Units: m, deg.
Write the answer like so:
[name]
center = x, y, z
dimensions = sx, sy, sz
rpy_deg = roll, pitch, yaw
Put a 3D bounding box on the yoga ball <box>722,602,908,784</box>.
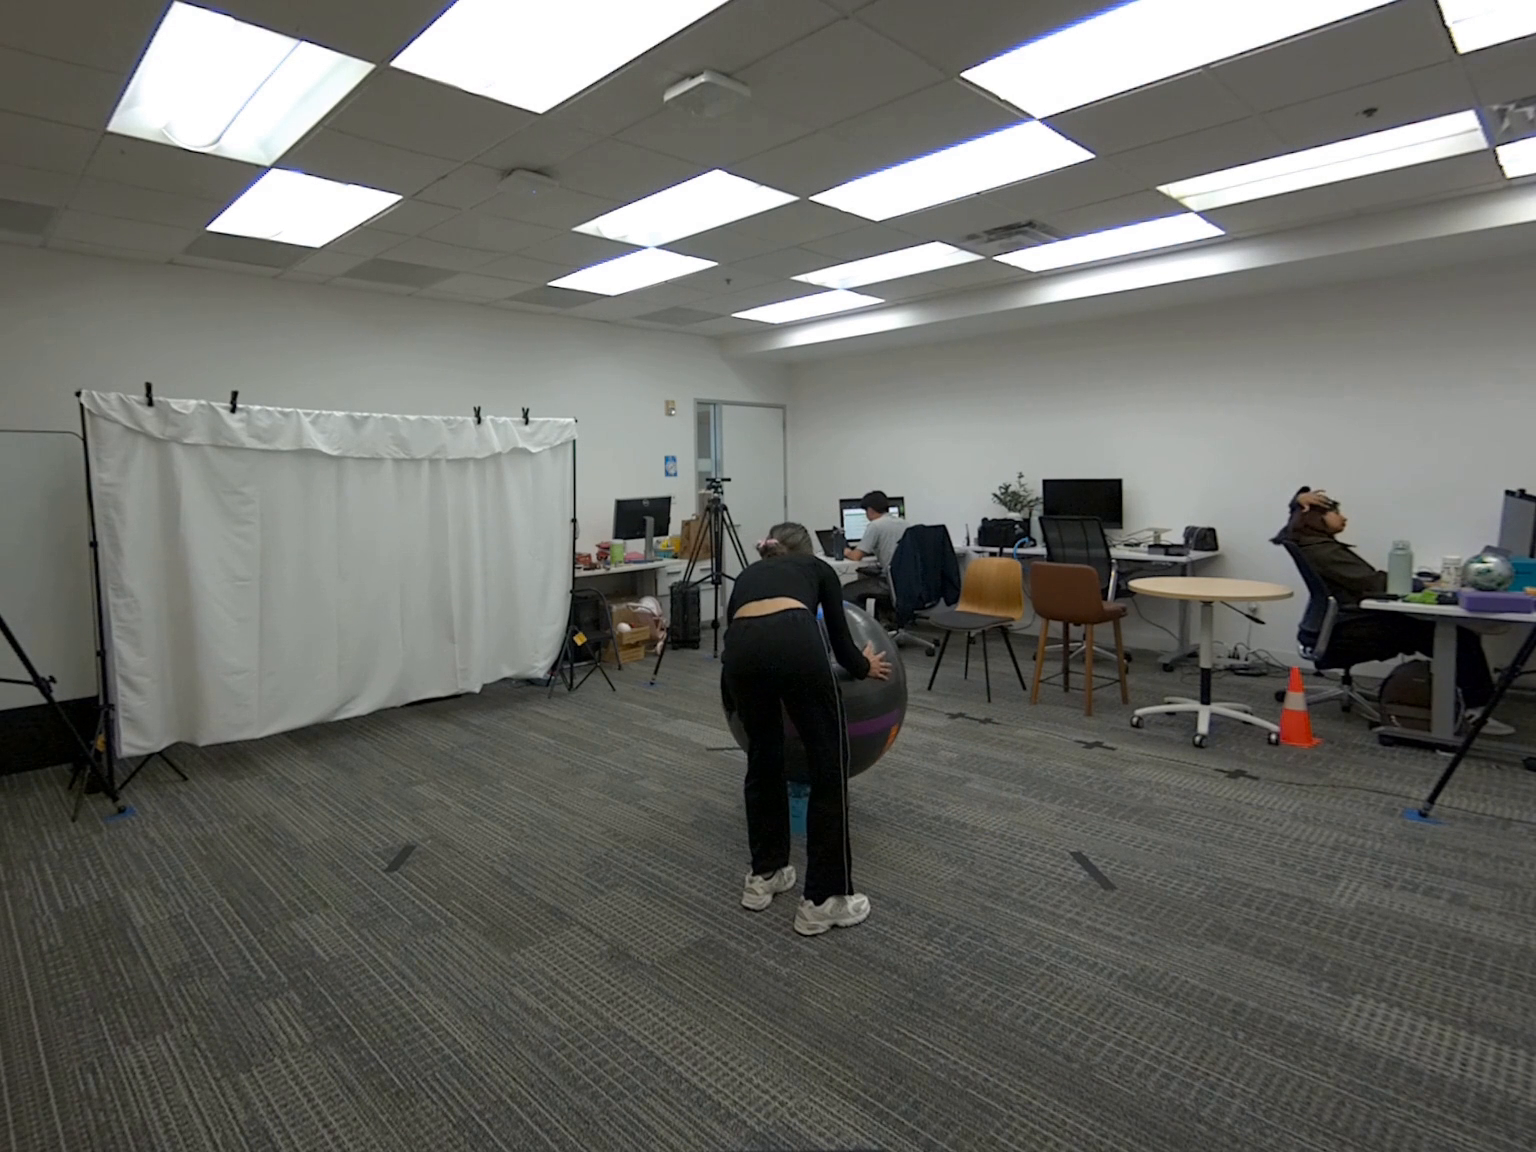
[yoga ball]
center = 0.191, 0.456, 3.484
dimensions = 0.757, 0.755, 0.762
rpy_deg = -1, 5, -2
